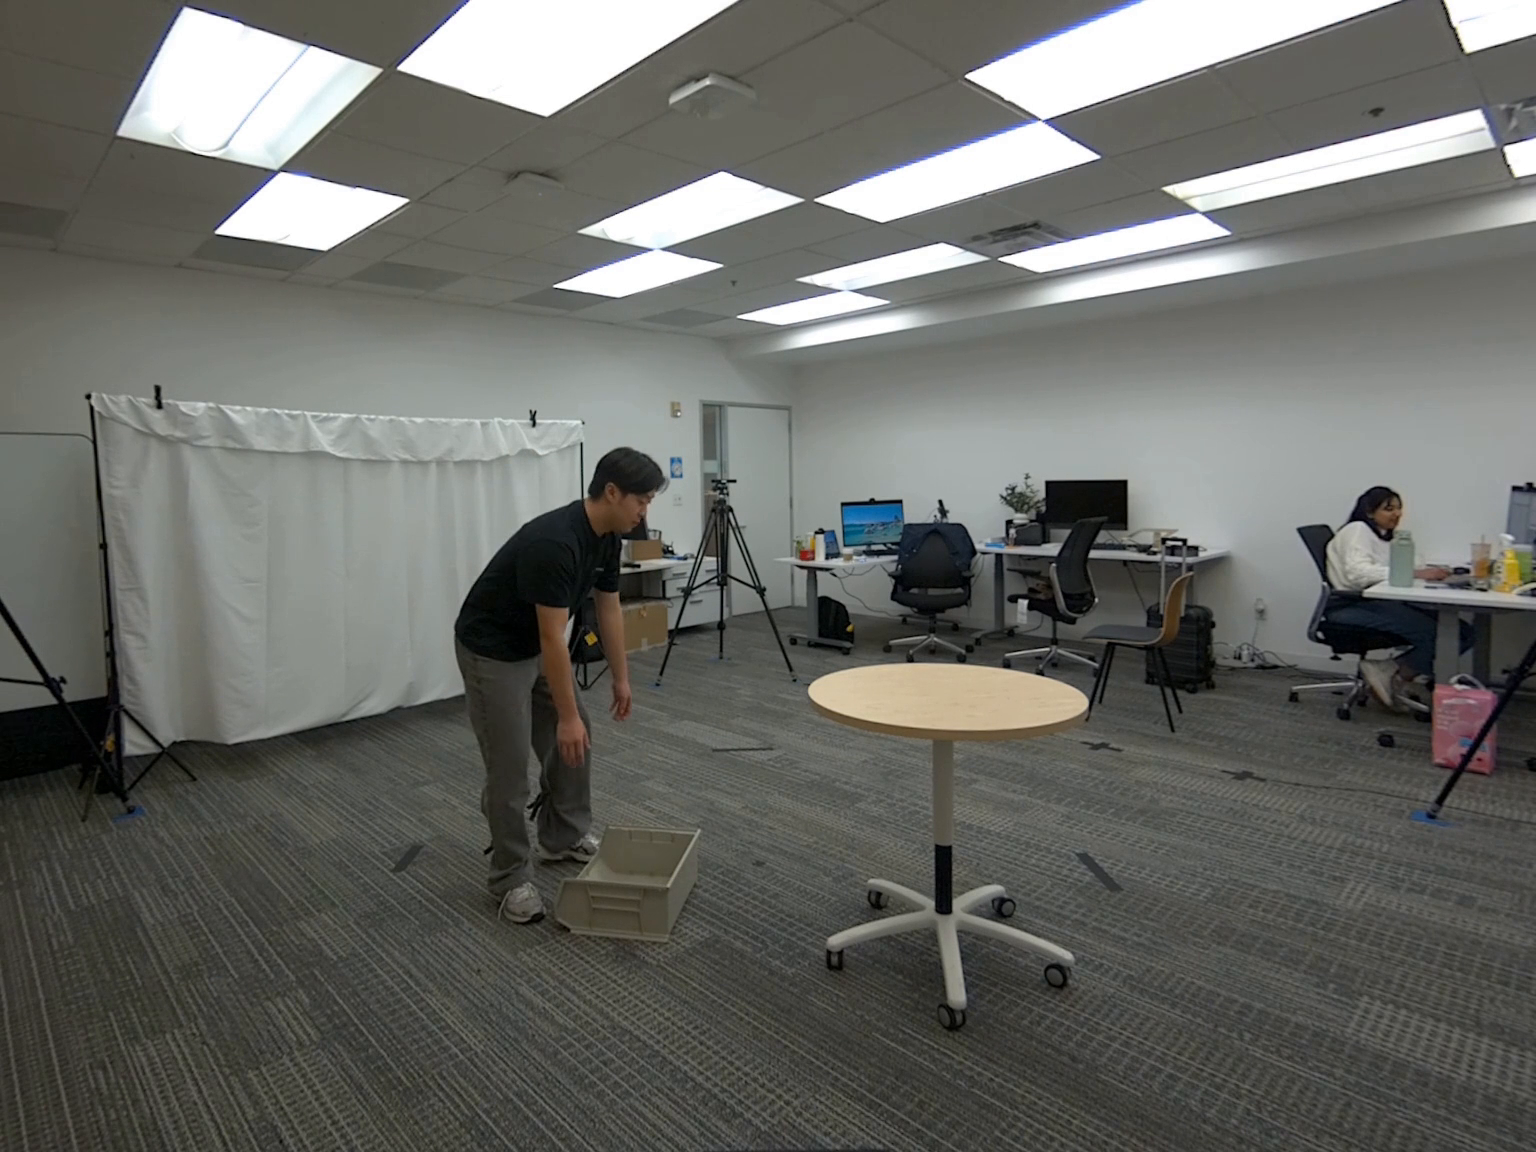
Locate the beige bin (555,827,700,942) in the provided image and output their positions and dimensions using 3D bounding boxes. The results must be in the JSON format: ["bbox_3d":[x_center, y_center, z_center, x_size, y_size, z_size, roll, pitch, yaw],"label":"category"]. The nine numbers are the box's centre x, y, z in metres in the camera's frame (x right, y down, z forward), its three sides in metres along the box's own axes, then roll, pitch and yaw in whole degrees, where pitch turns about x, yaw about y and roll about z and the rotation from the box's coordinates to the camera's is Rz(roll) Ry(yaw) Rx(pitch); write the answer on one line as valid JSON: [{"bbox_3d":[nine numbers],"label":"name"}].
[{"bbox_3d":[-0.451,0.995,2.822,0.381,0.188,0.420,1,6,10],"label":"beige bin"}]
